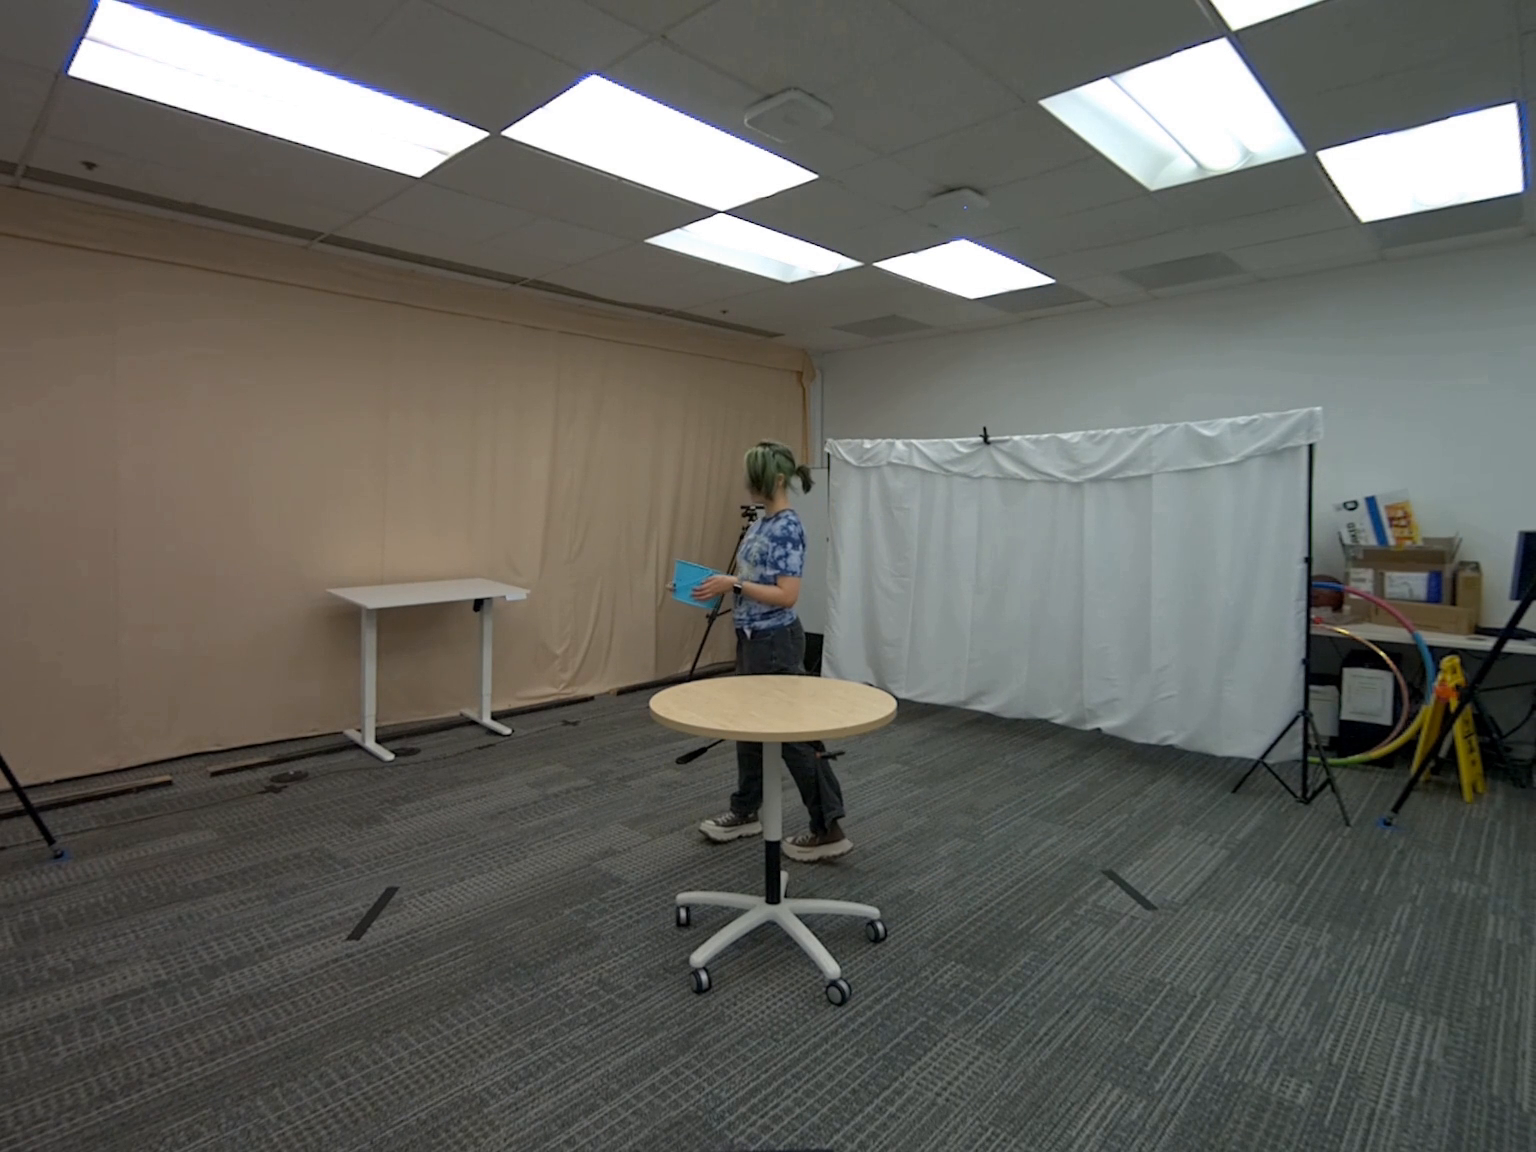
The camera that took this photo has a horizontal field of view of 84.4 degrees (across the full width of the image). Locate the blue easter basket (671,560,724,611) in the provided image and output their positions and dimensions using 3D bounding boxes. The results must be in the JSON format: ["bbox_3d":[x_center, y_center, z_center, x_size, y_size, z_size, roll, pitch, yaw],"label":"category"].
[{"bbox_3d":[-0.287,0.041,3.390,0.243,0.156,0.243,17,-2,-1],"label":"blue easter basket"}]
